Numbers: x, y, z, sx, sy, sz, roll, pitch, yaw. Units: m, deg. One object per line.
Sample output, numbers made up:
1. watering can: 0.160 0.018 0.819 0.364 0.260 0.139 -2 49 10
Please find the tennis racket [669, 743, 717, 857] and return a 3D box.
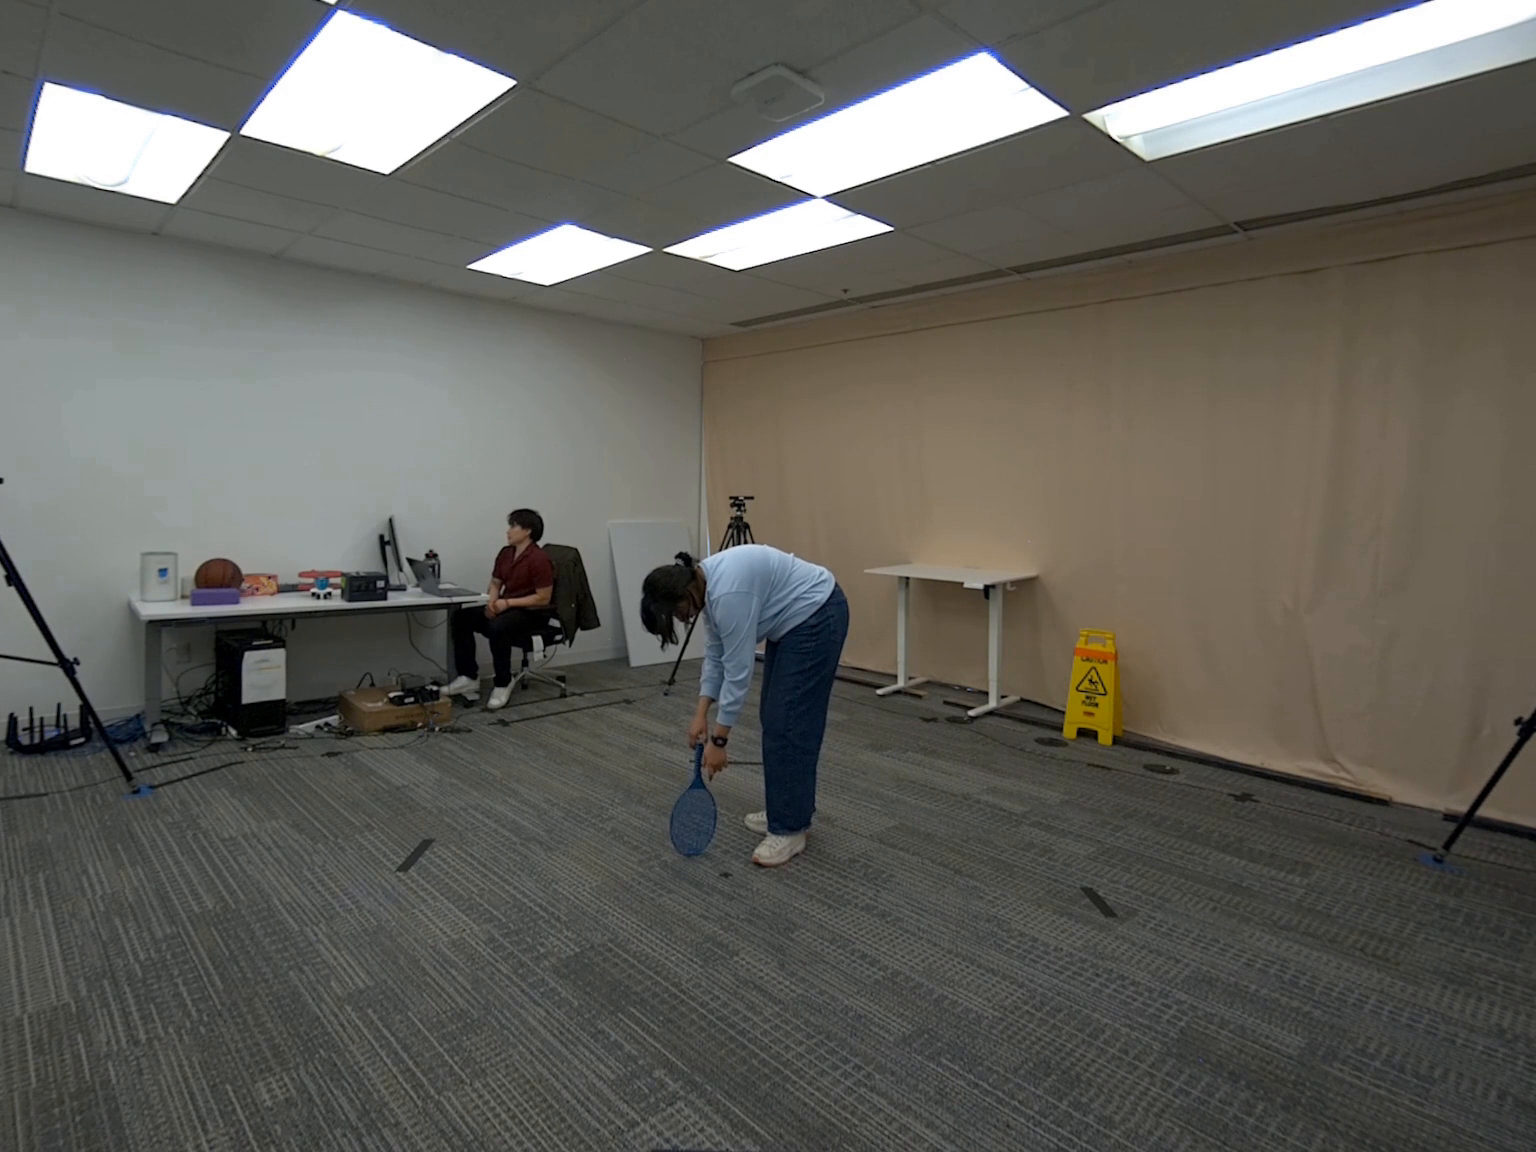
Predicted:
1. tennis racket: -0.288 0.874 3.282 0.208 0.434 0.032 9 -7 -37
